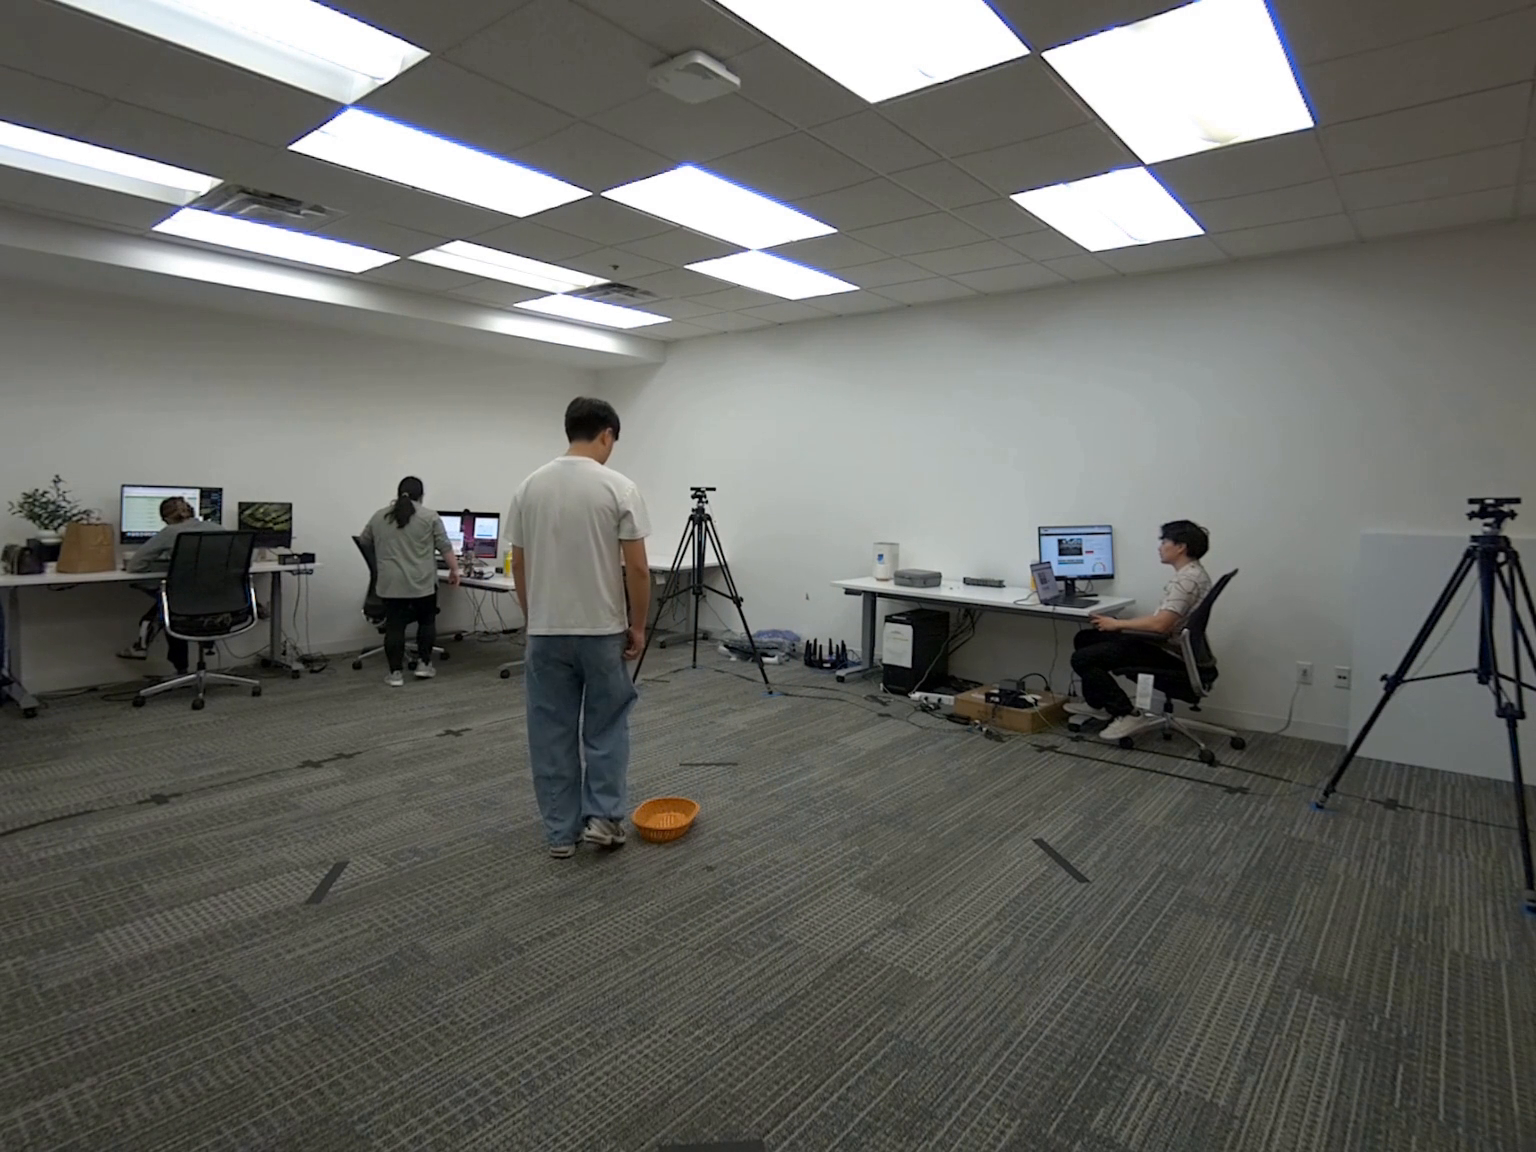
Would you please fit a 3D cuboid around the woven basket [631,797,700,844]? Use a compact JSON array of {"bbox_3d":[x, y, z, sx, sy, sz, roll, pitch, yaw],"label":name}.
[{"bbox_3d":[-0.429,0.988,3.464,0.257,0.073,0.346,2,6,15],"label":"woven basket"}]
